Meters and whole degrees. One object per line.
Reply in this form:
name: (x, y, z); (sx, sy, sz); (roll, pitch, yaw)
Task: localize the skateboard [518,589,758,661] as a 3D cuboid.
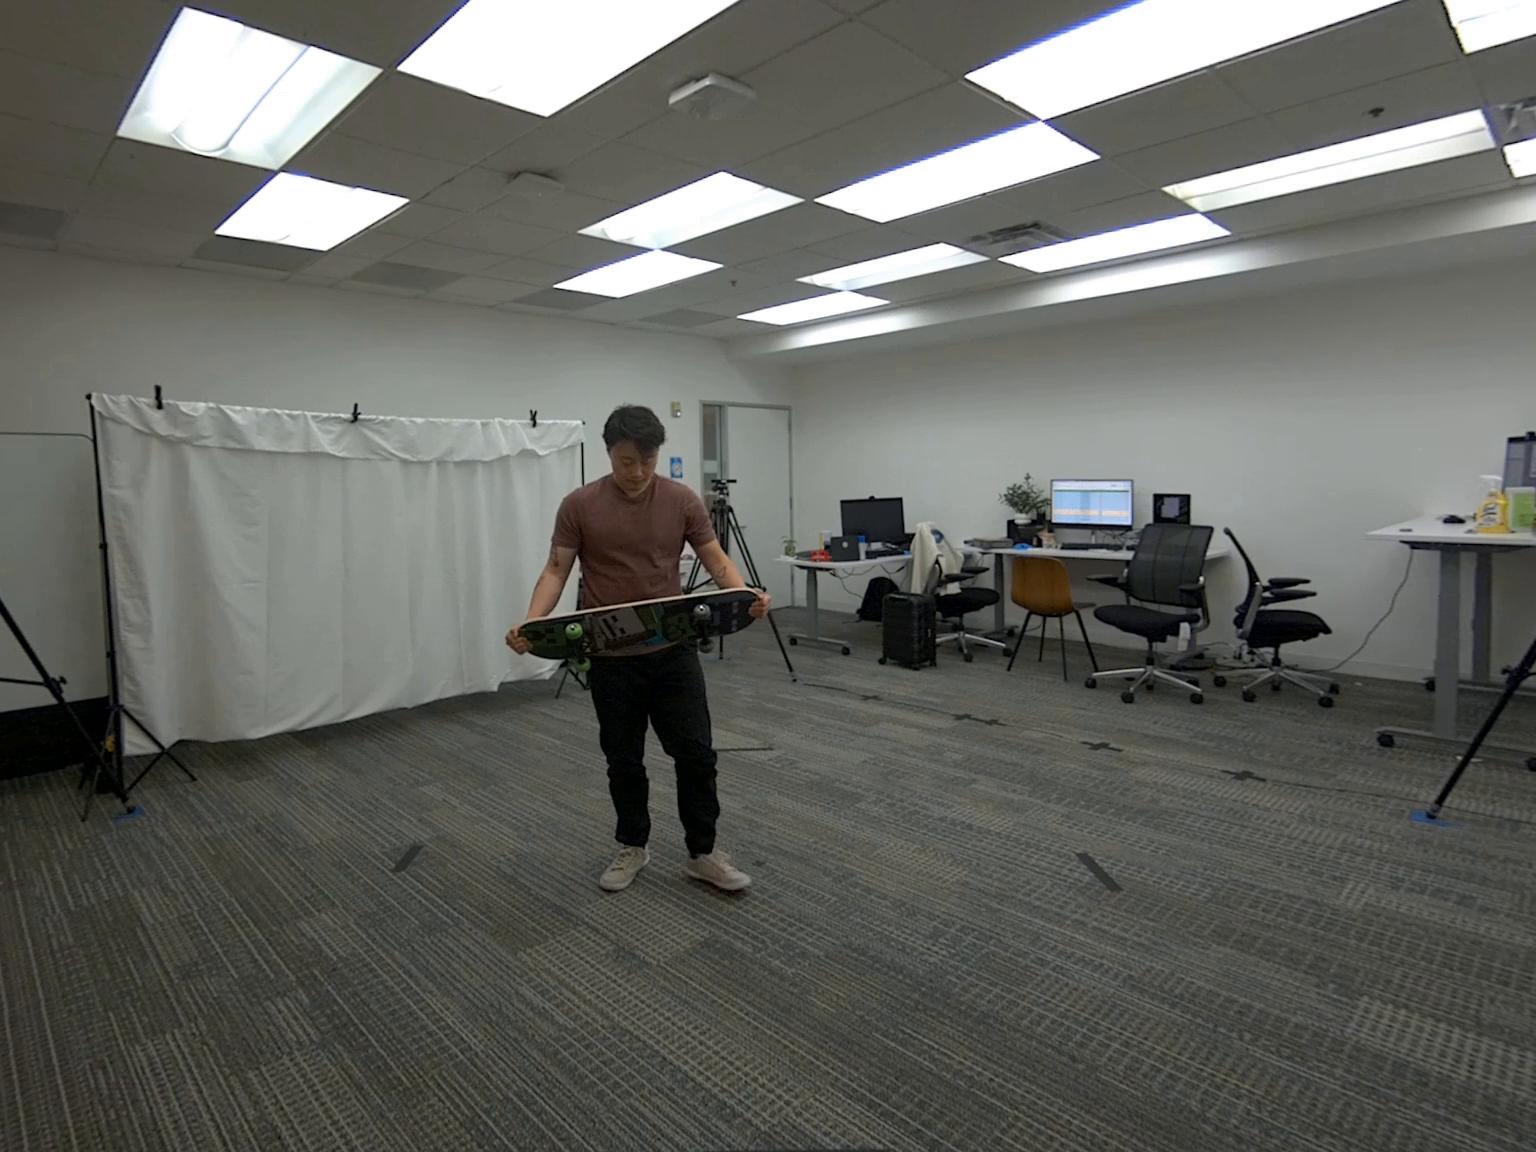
skateboard: (-0.396, 0.182, 2.696); (0.784, 0.188, 0.114); (-8, 40, -2)
